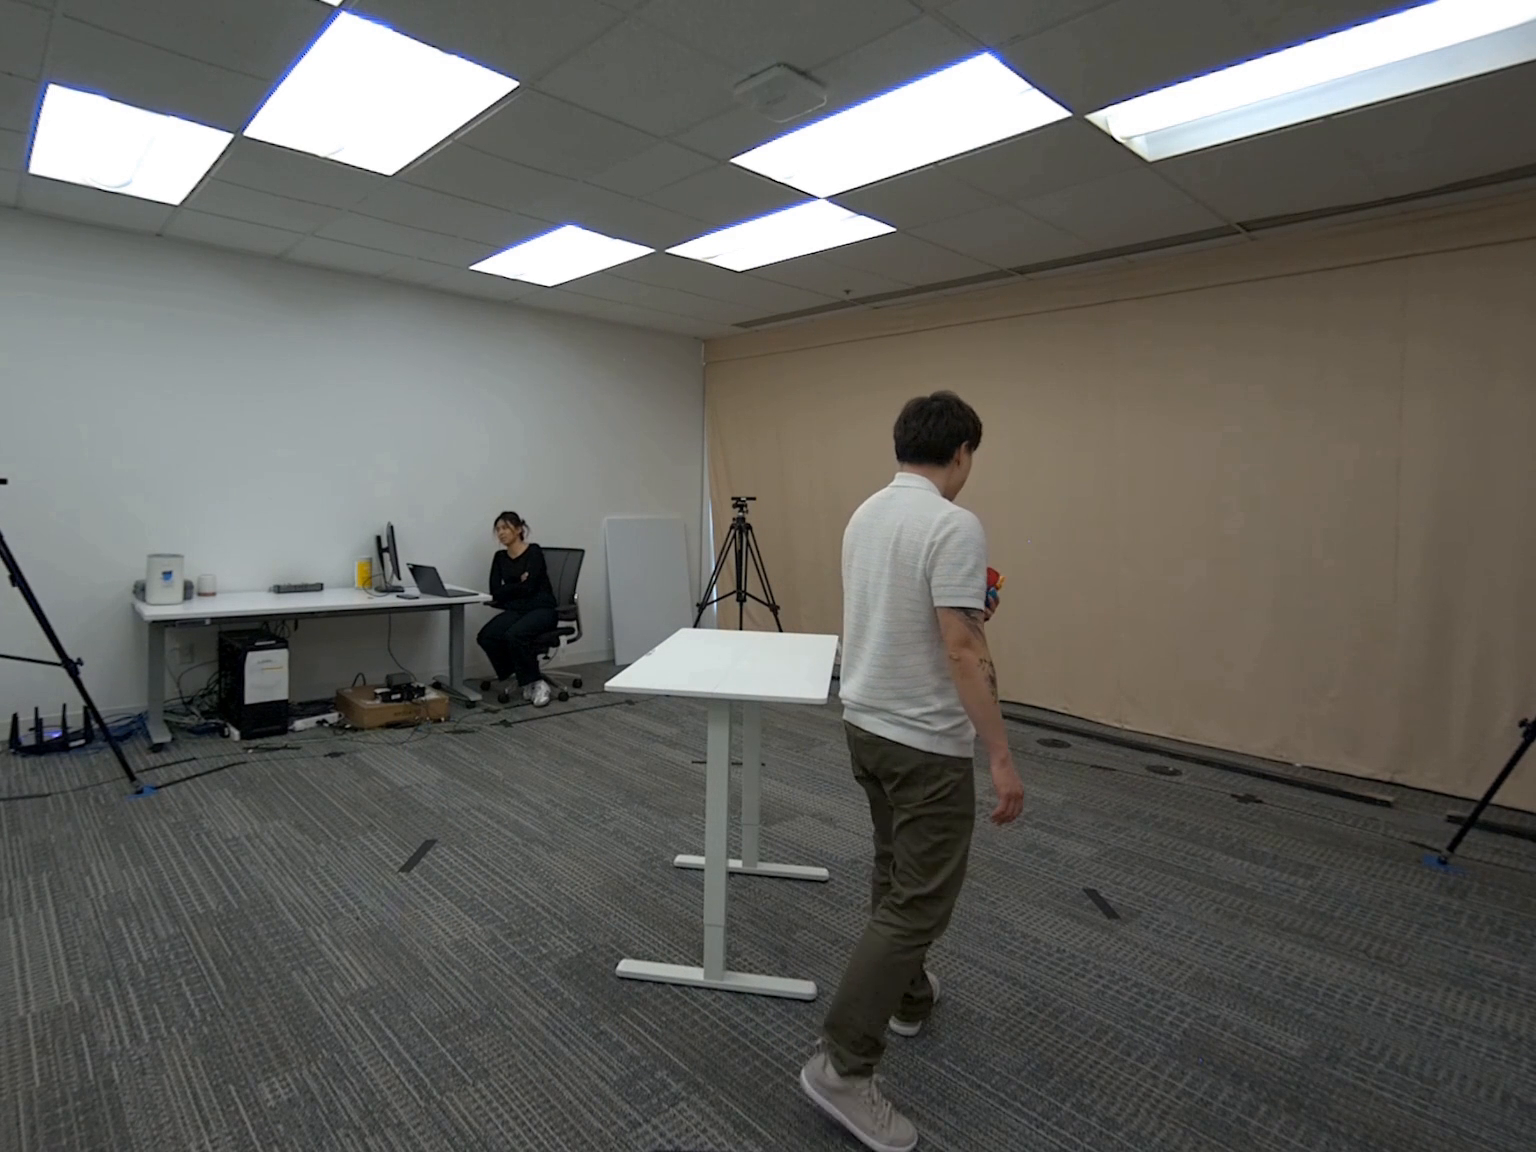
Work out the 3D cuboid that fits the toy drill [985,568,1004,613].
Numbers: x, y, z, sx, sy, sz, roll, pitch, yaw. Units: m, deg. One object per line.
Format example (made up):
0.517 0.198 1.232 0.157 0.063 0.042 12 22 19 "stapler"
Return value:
0.605 0.032 2.305 0.063 0.142 0.169 30 56 26 "toy drill"
